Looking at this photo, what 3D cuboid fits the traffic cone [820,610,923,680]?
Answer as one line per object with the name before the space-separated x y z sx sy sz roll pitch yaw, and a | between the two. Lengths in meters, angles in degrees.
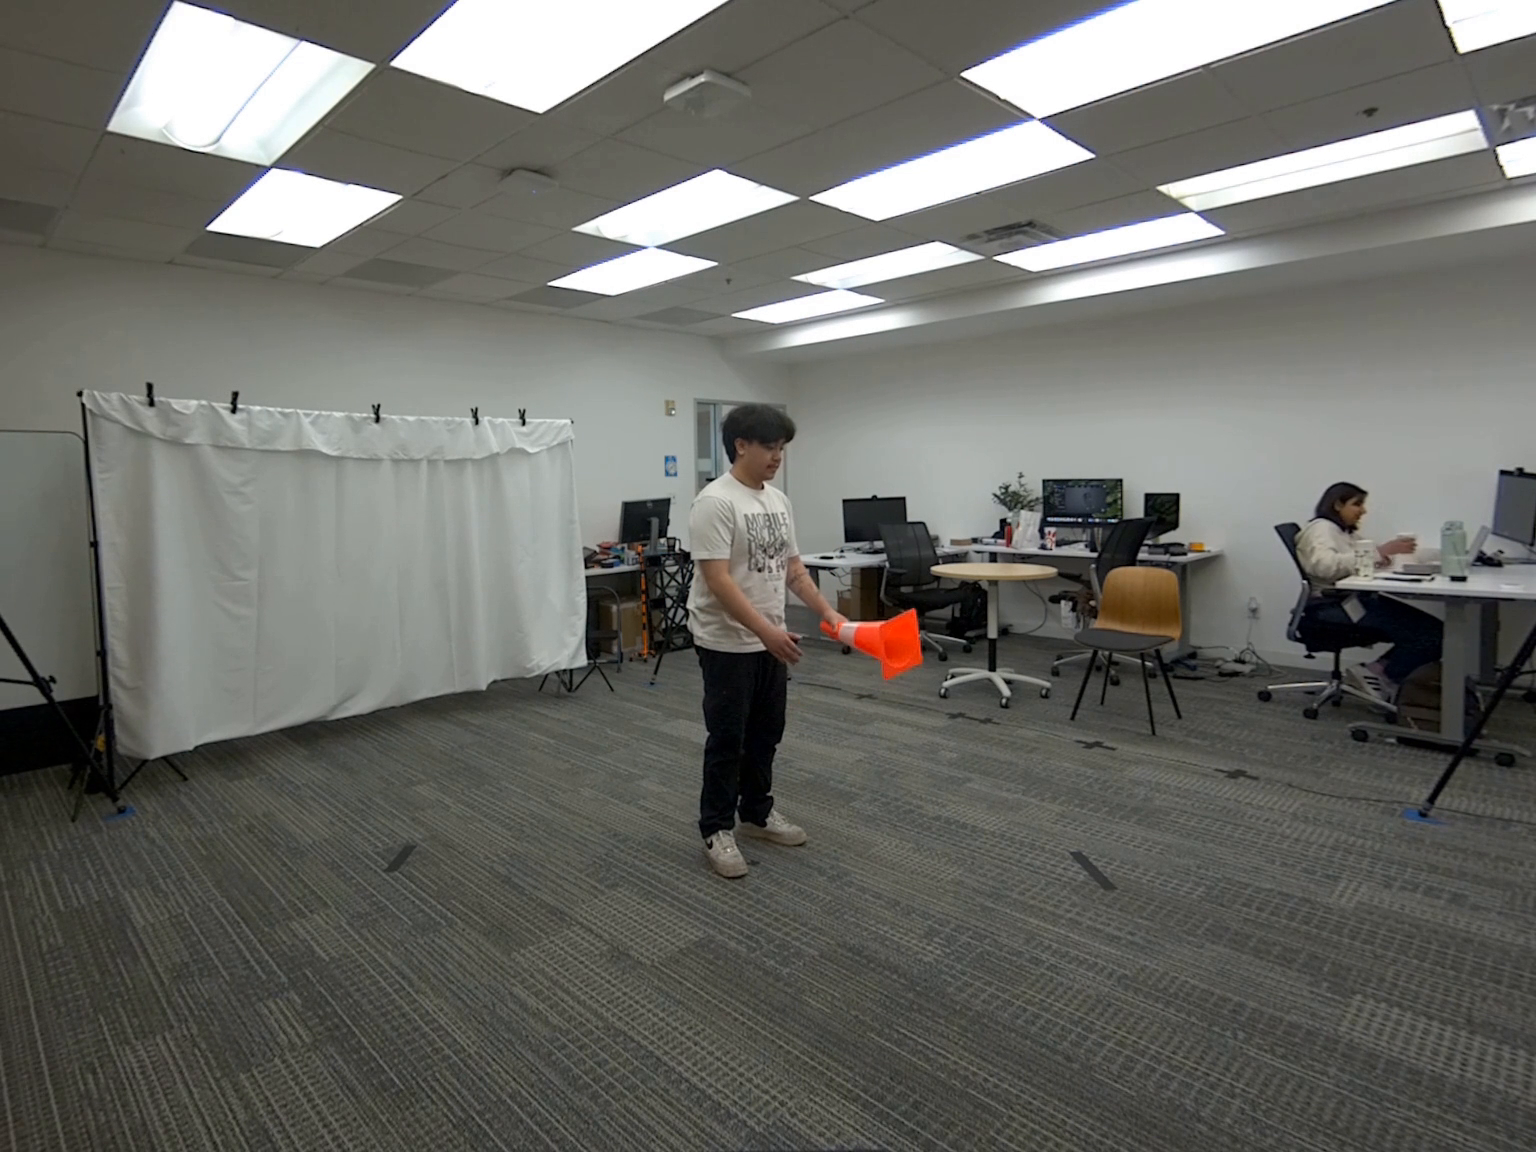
traffic cone | 0.325 0.215 3.054 0.201 0.201 0.395 -18 15 -35
